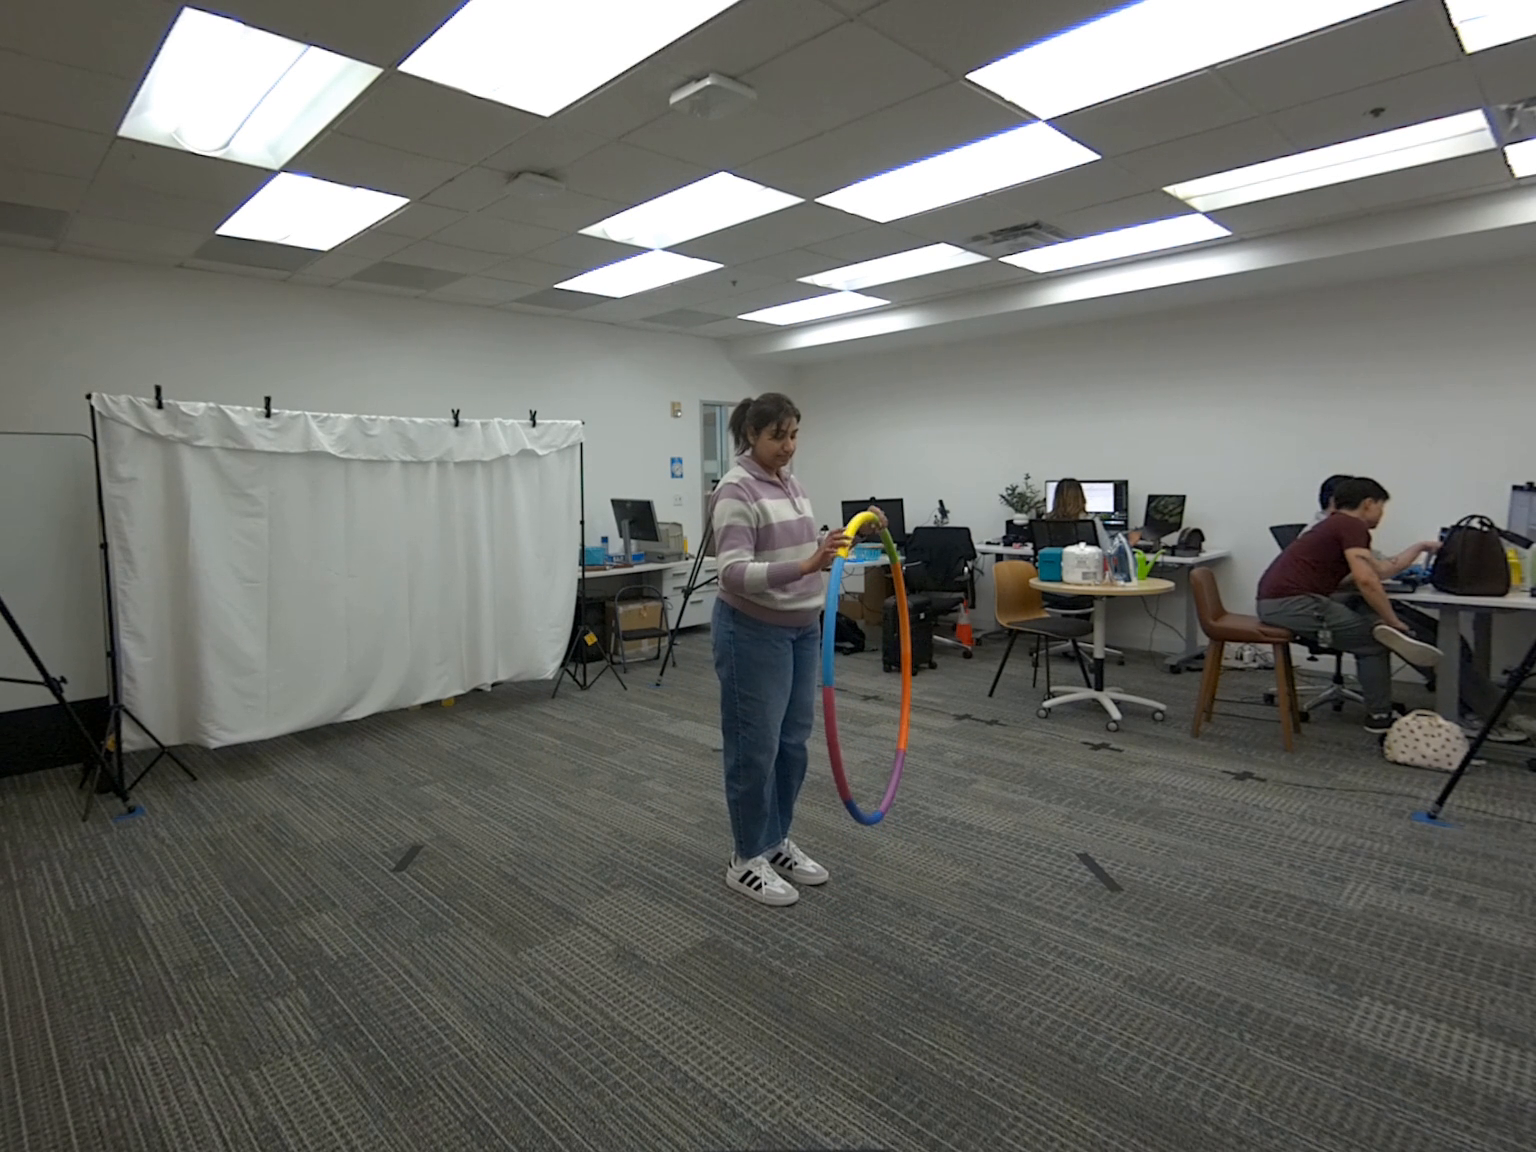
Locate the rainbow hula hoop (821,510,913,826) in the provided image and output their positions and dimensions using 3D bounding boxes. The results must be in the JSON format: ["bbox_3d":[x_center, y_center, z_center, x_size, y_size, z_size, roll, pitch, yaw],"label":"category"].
[{"bbox_3d":[0.337,0.286,2.757,0.036,0.976,0.962,-2,4,22],"label":"rainbow hula hoop"}]
